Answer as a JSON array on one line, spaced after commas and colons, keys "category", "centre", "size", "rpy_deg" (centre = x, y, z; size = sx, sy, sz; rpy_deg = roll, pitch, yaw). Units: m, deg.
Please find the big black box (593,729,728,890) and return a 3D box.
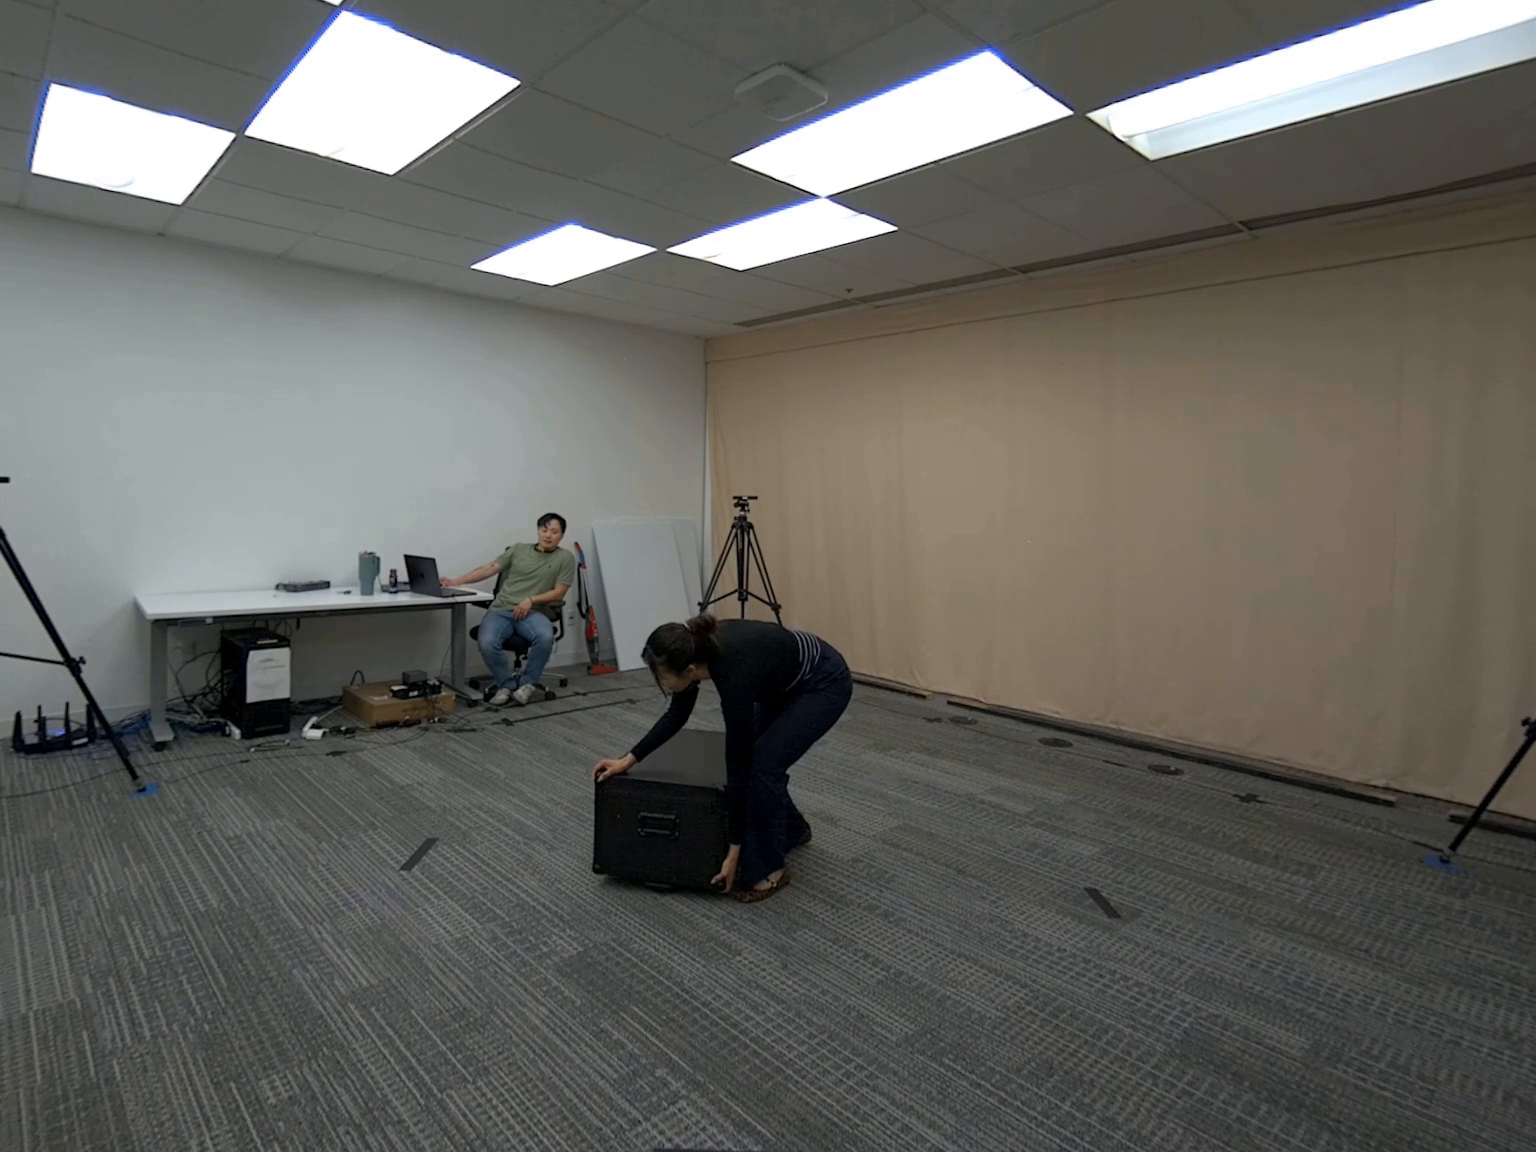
[{"category": "big black box", "centre": [-0.302, 0.873, 3.335], "size": [0.527, 0.395, 0.854], "rpy_deg": [2, 4, 12]}]
